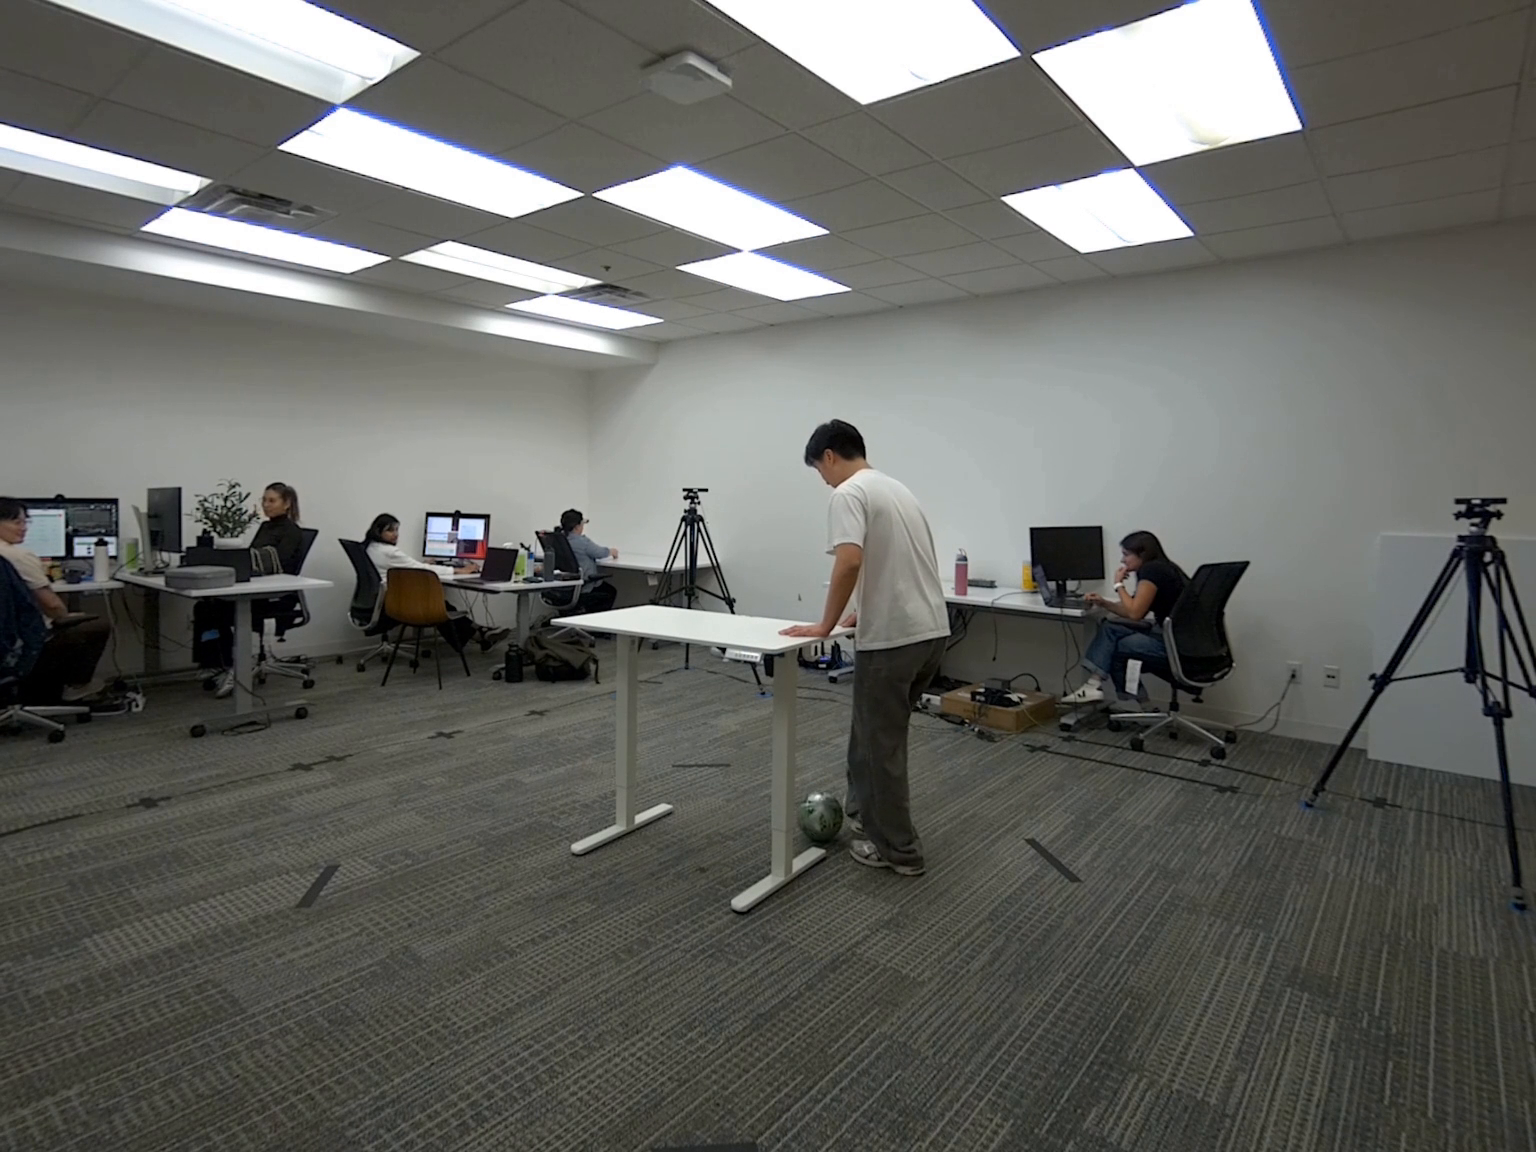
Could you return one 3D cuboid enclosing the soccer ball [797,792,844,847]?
[{"bbox_3d":[0.208,0.951,3.408,0.187,0.187,0.188,1,4,-2],"label":"soccer ball"}]
